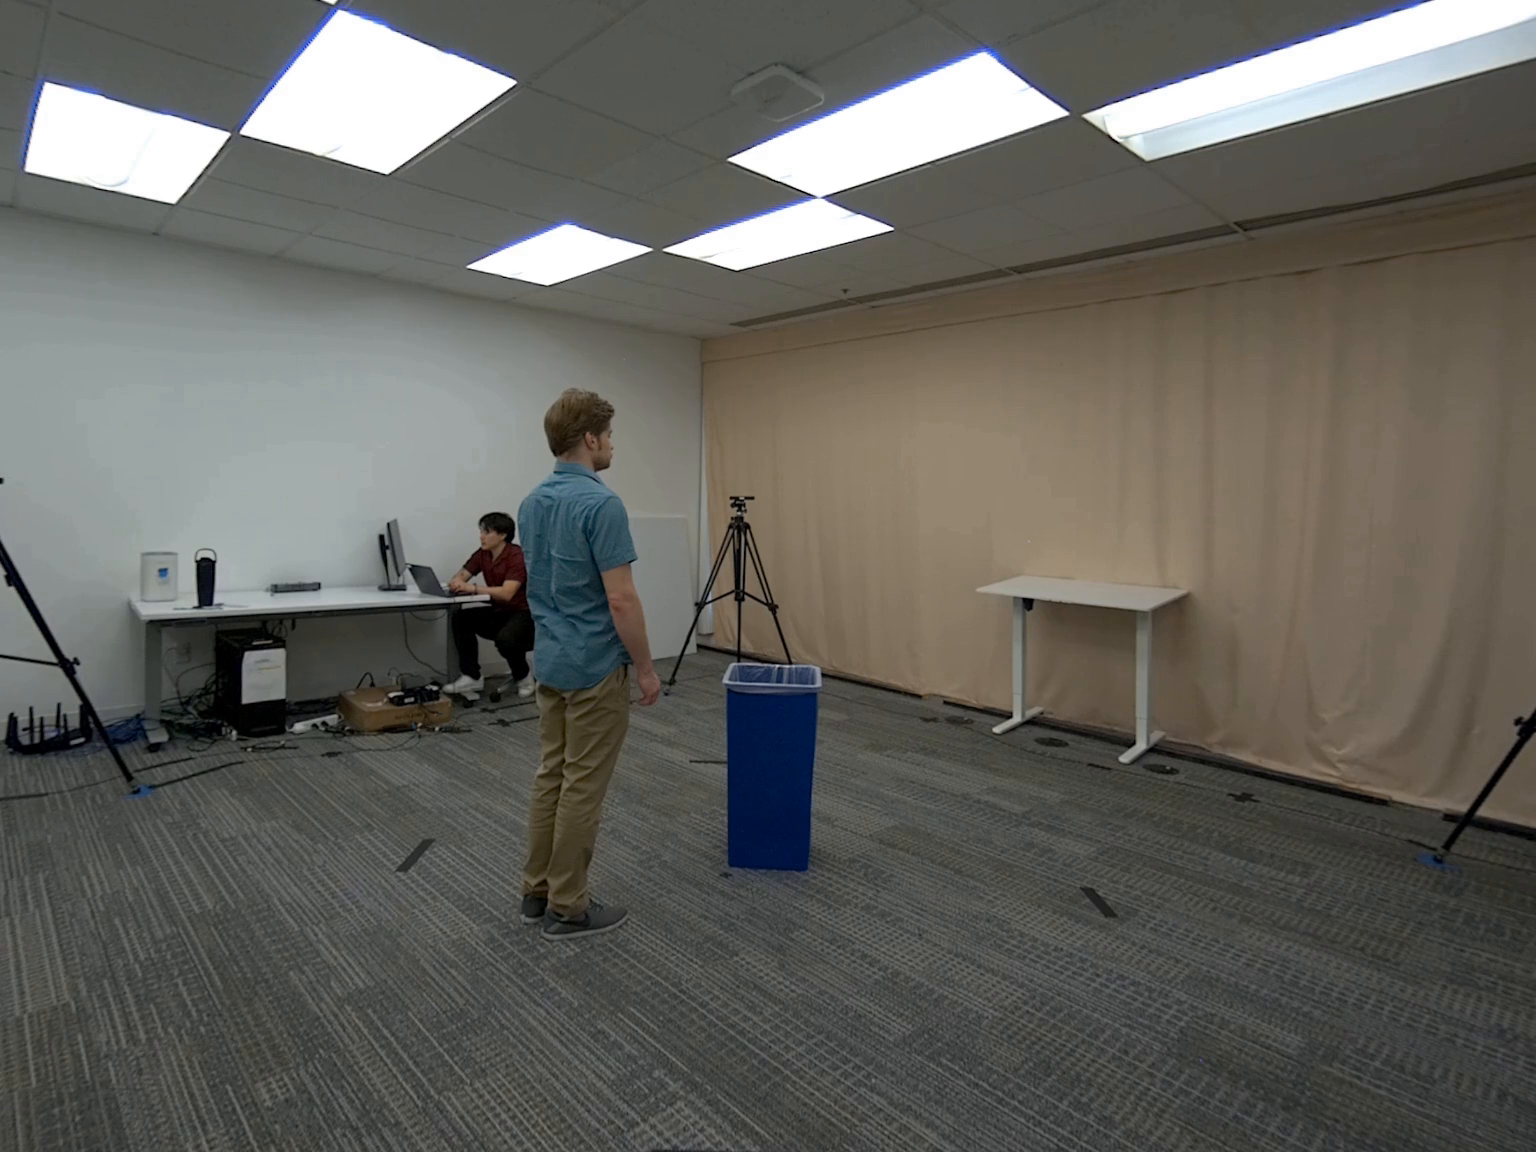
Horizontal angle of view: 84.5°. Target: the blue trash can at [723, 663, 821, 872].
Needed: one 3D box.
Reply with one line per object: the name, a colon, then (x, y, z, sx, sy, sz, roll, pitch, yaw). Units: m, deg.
blue trash can: (-0.004, 0.736, 3.289, 0.375, 0.711, 0.378, 2, 4, 3)
